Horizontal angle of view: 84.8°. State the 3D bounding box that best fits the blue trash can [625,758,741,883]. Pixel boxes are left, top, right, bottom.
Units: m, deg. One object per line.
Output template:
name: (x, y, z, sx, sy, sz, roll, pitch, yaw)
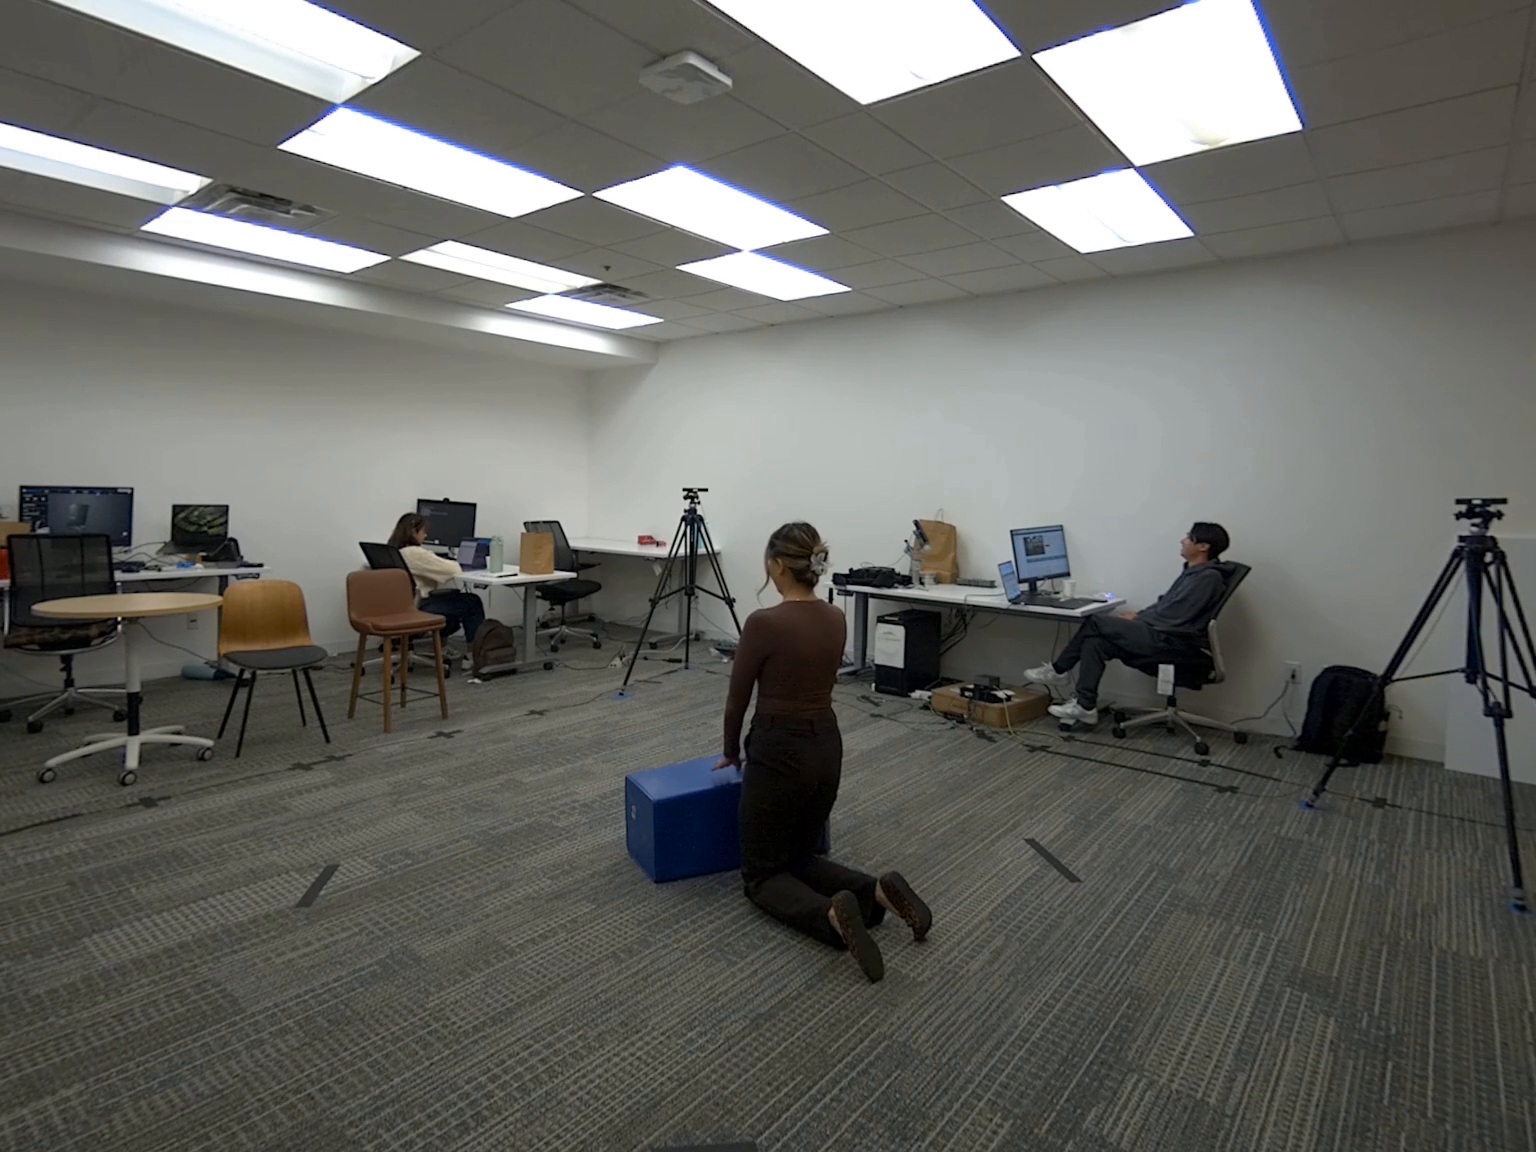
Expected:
blue trash can: (-0.169, 0.882, 3.257, 0.697, 0.376, 0.385, -4, 7, -26)
